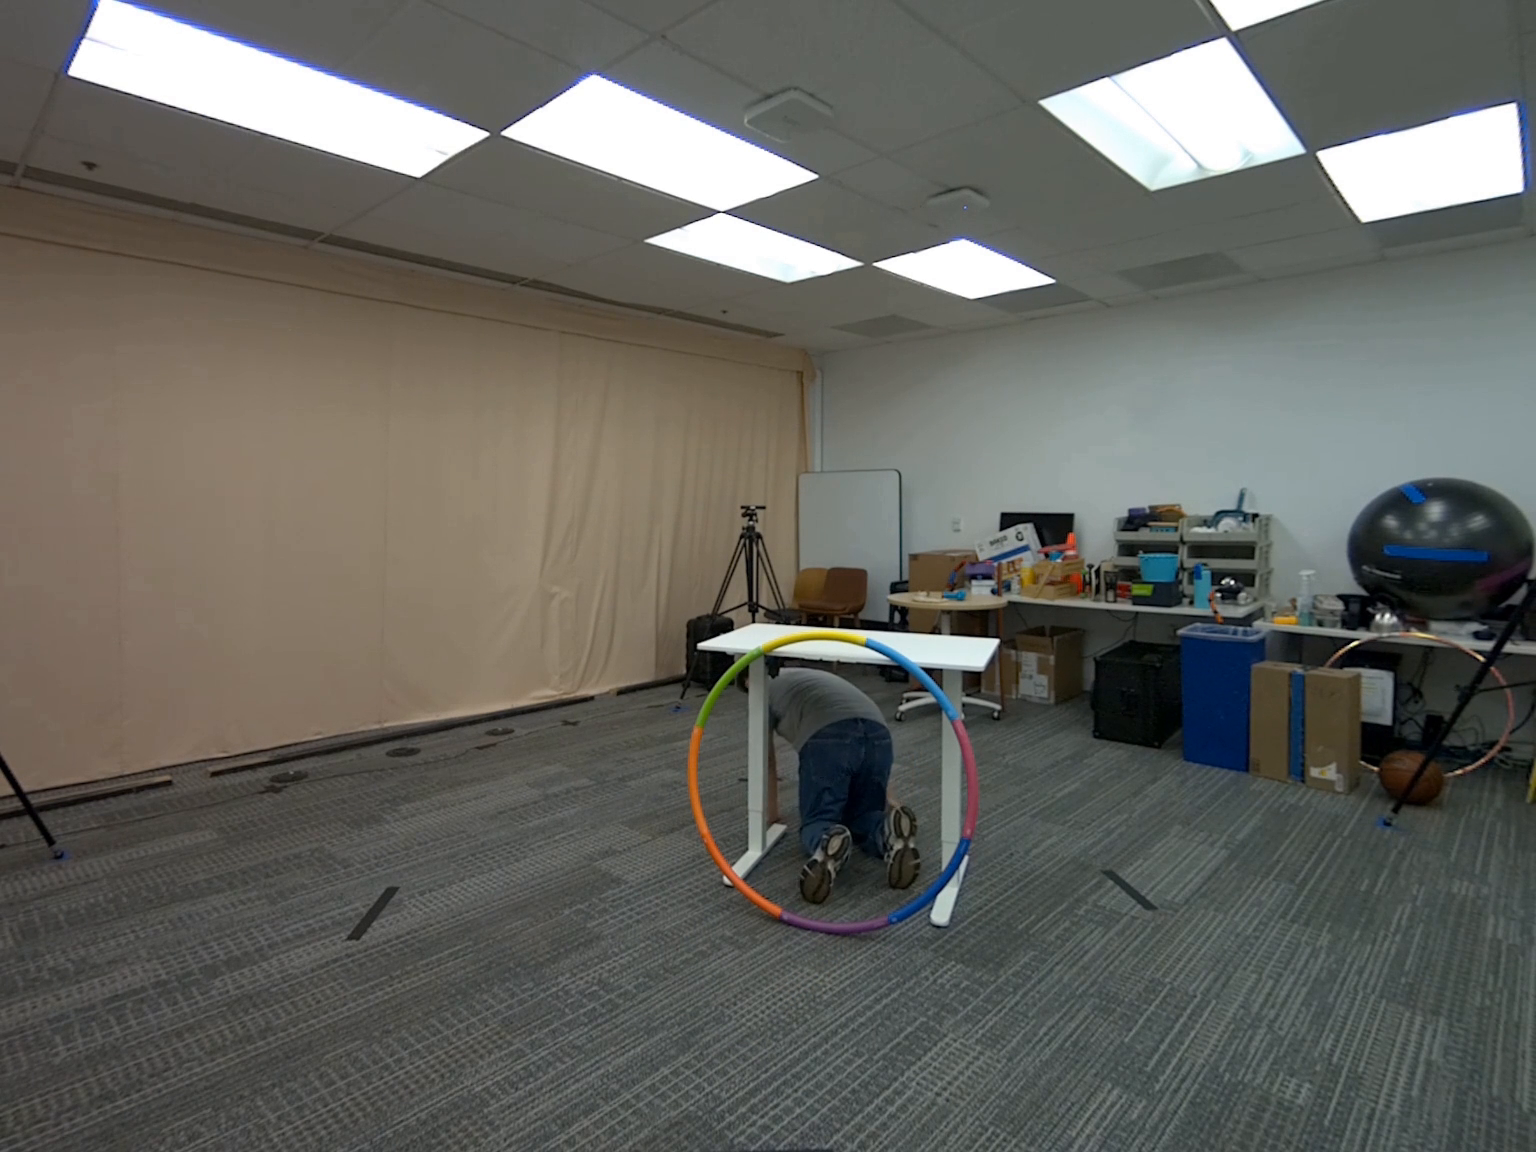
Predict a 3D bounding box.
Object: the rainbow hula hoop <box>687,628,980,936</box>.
[{"bbox_3d":[0.186,0.677,2.811,1.000,0.982,0.034,1,-7,21],"label":"rainbow hula hoop"}]
